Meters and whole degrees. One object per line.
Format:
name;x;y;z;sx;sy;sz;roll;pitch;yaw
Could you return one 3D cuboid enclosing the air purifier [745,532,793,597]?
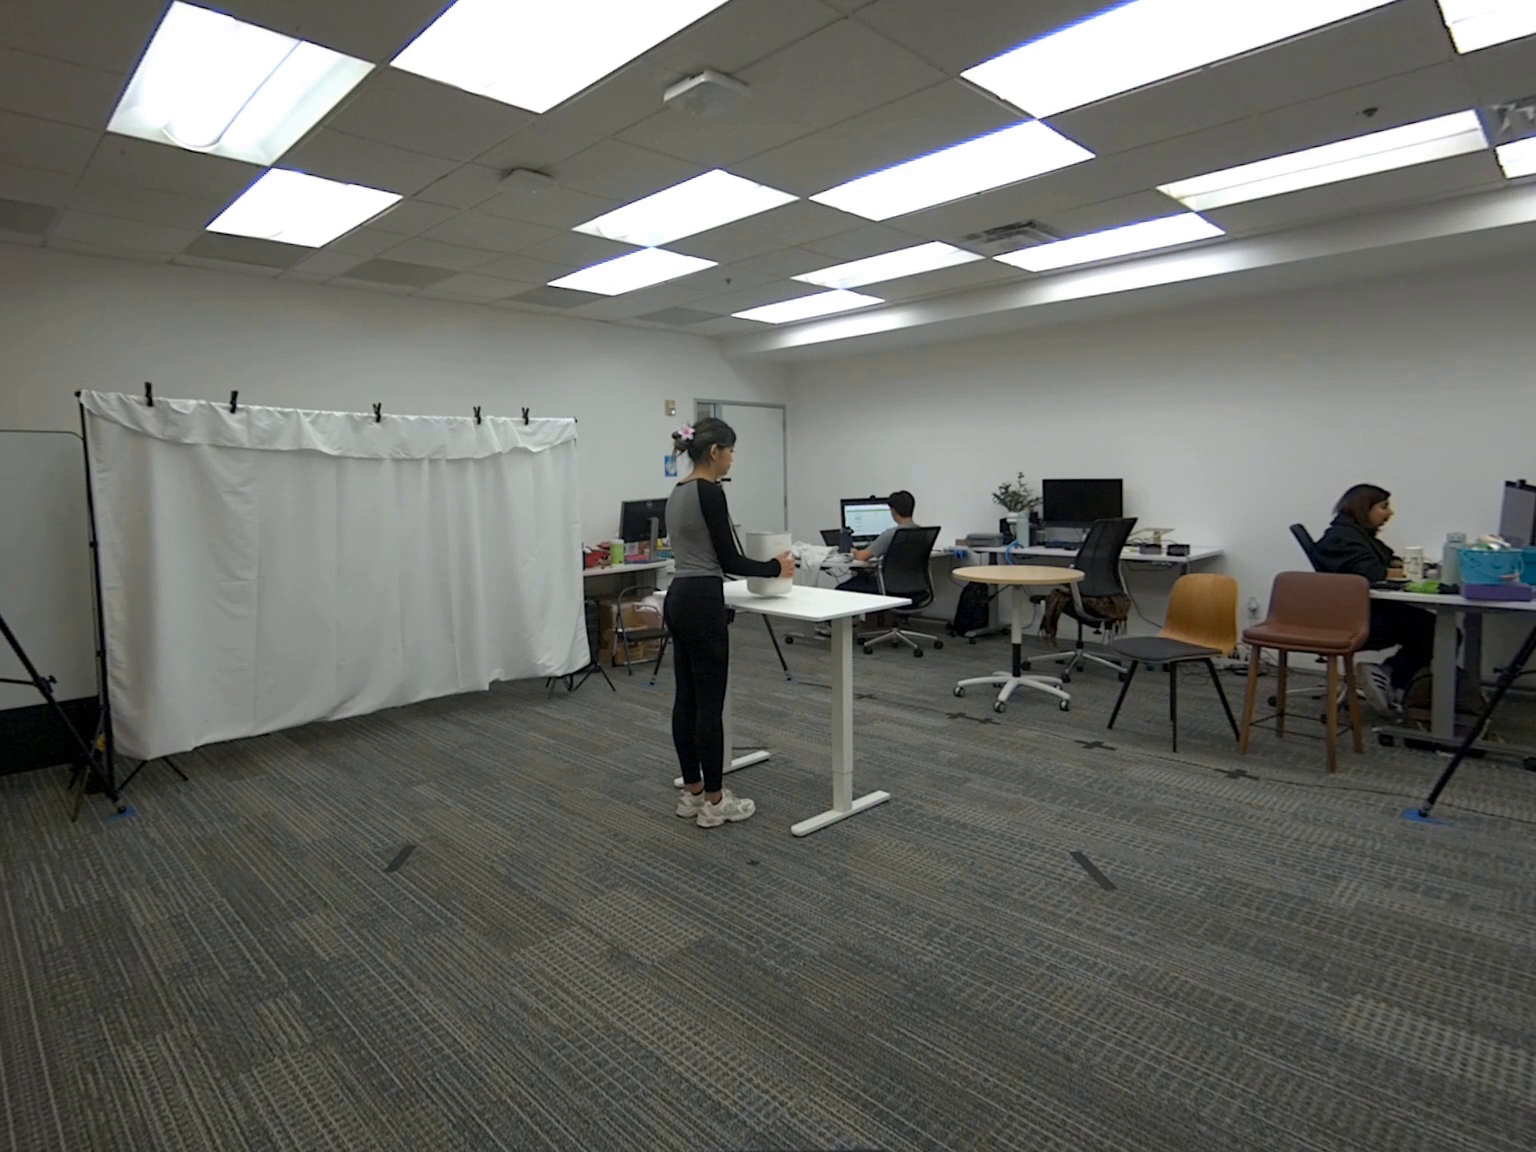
air purifier;0.001;-0.055;3.680;0.167;0.264;0.176;-5;7;-30
